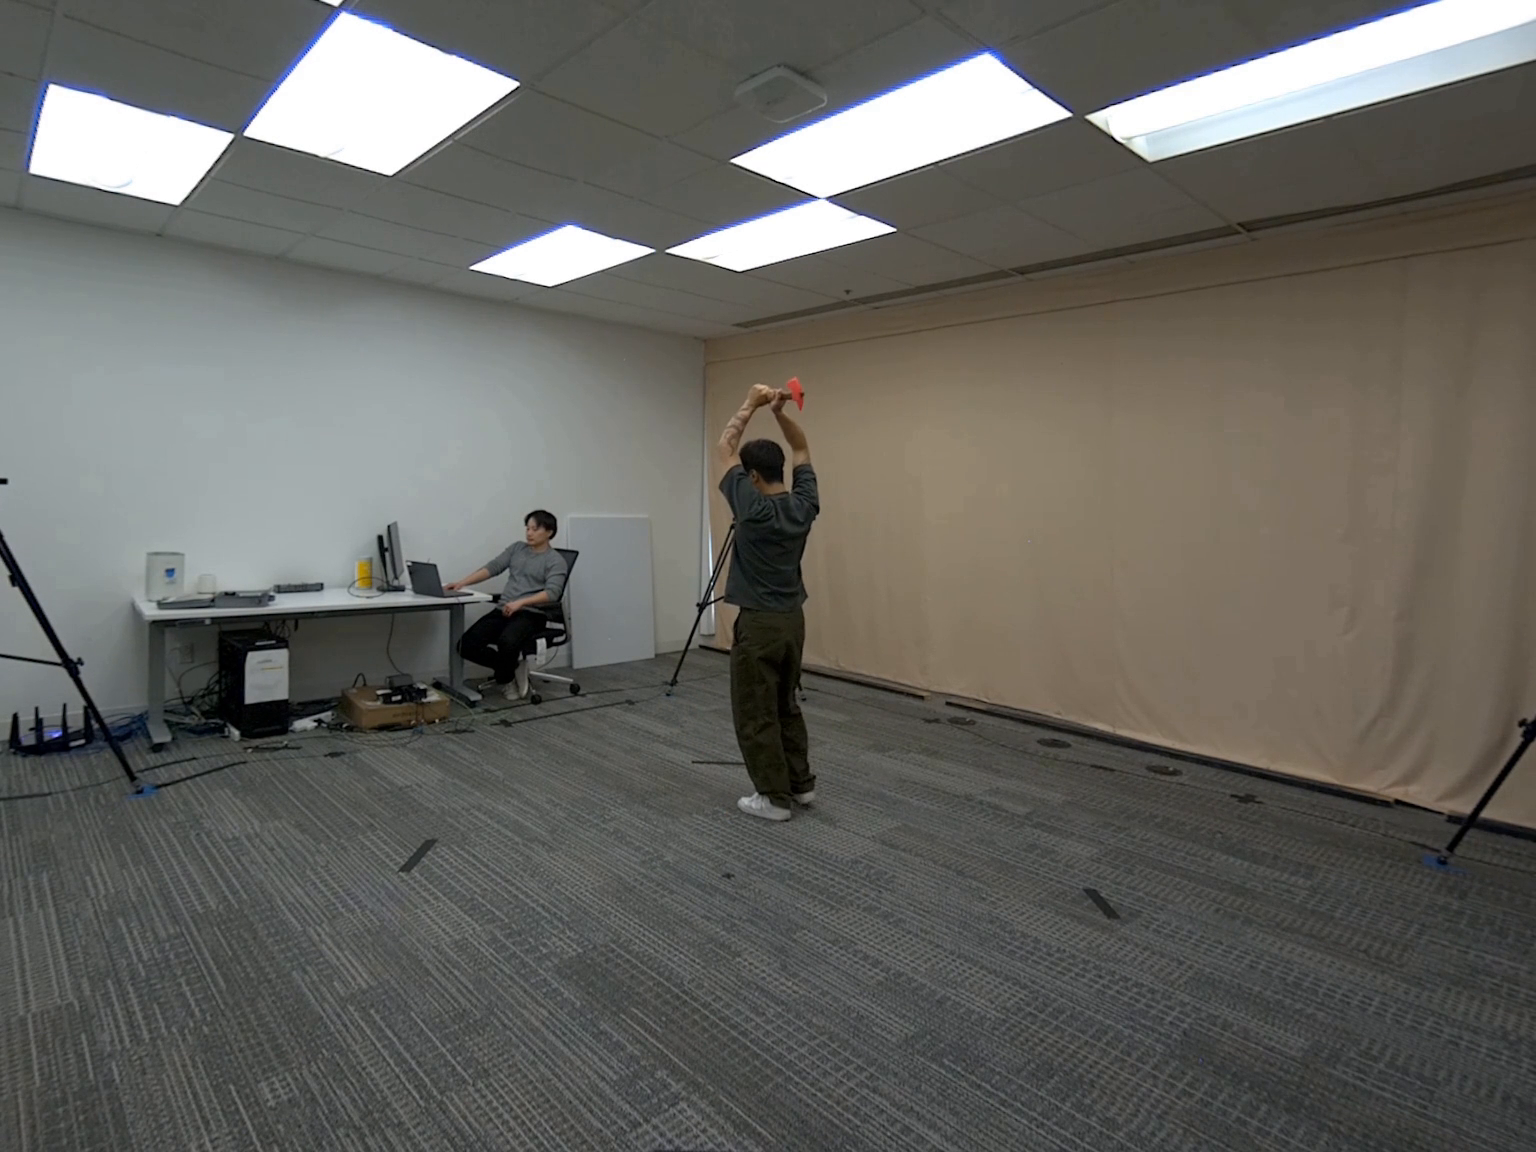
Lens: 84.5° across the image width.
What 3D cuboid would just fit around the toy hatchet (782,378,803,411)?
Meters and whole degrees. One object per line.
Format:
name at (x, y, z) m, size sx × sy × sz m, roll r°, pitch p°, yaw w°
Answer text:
toy hatchet at (0.045, -0.793, 3.554) m, size 0.029 × 0.128 × 0.278 m, roll -24°, pitch 39°, yaw -37°
